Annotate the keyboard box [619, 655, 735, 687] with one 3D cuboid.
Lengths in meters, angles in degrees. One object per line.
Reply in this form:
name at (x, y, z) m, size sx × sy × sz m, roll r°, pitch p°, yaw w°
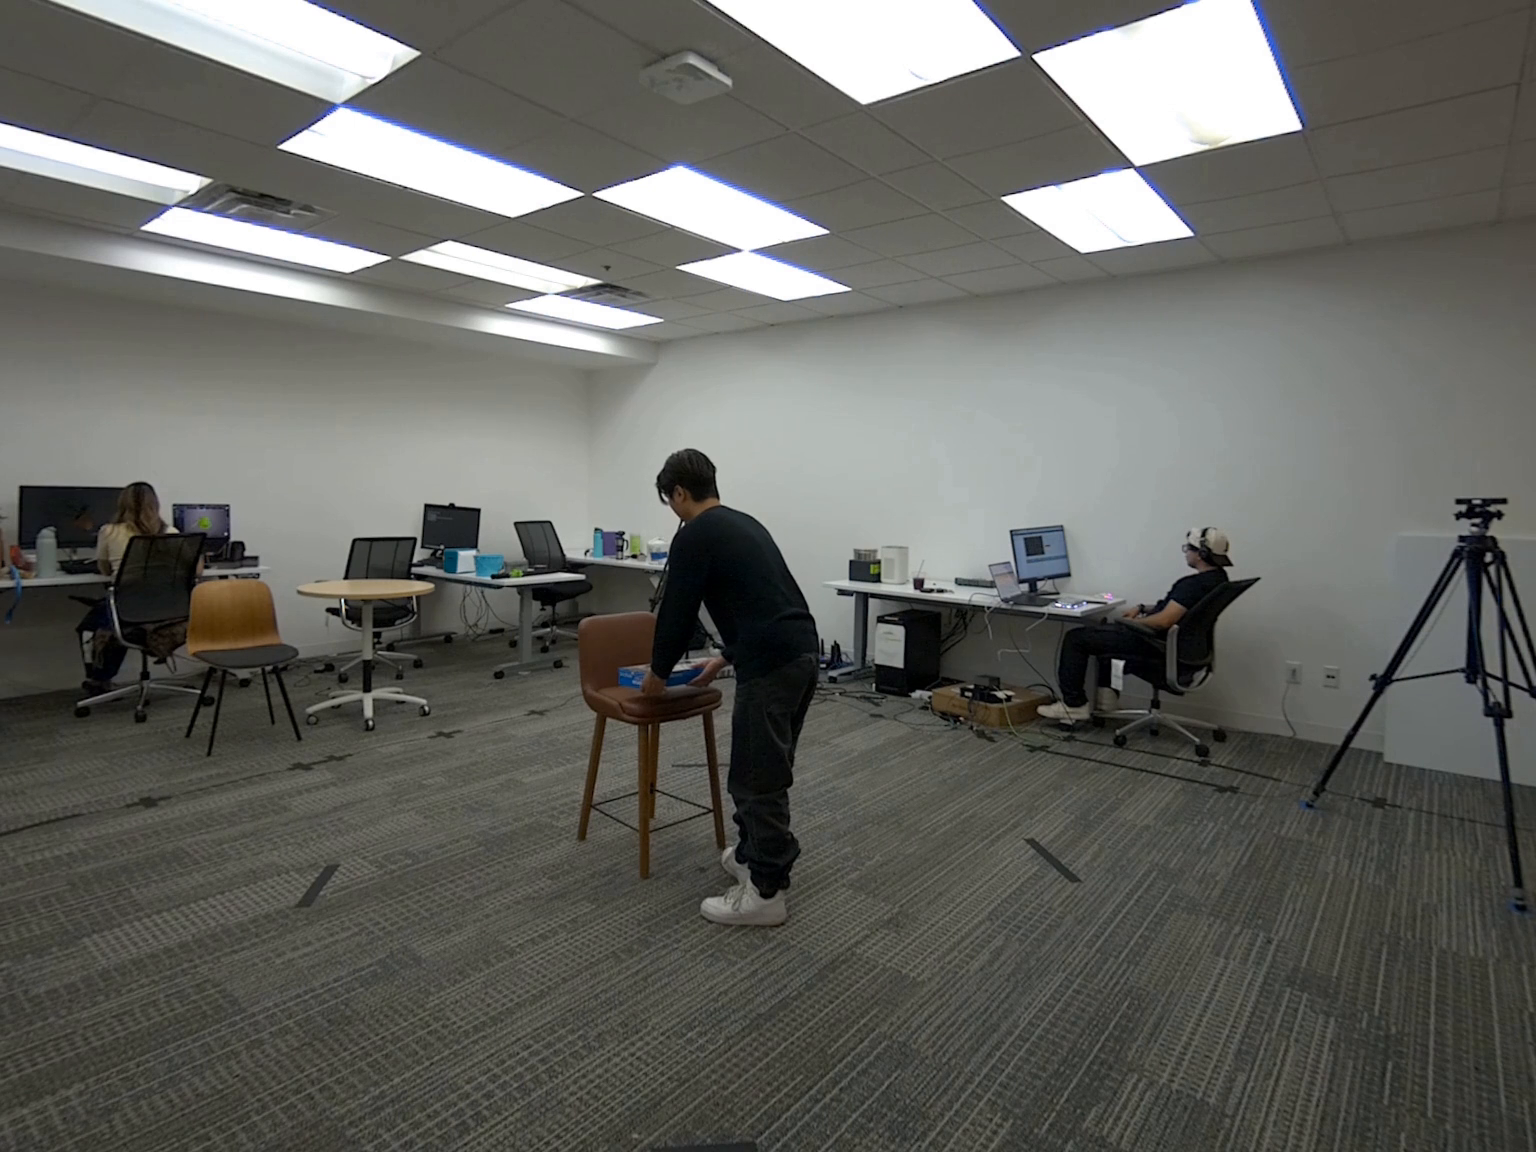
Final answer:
keyboard box at (-0.341, 0.361, 3.222) m, size 0.182 × 0.059 × 0.423 m, roll 4°, pitch 4°, yaw 45°
